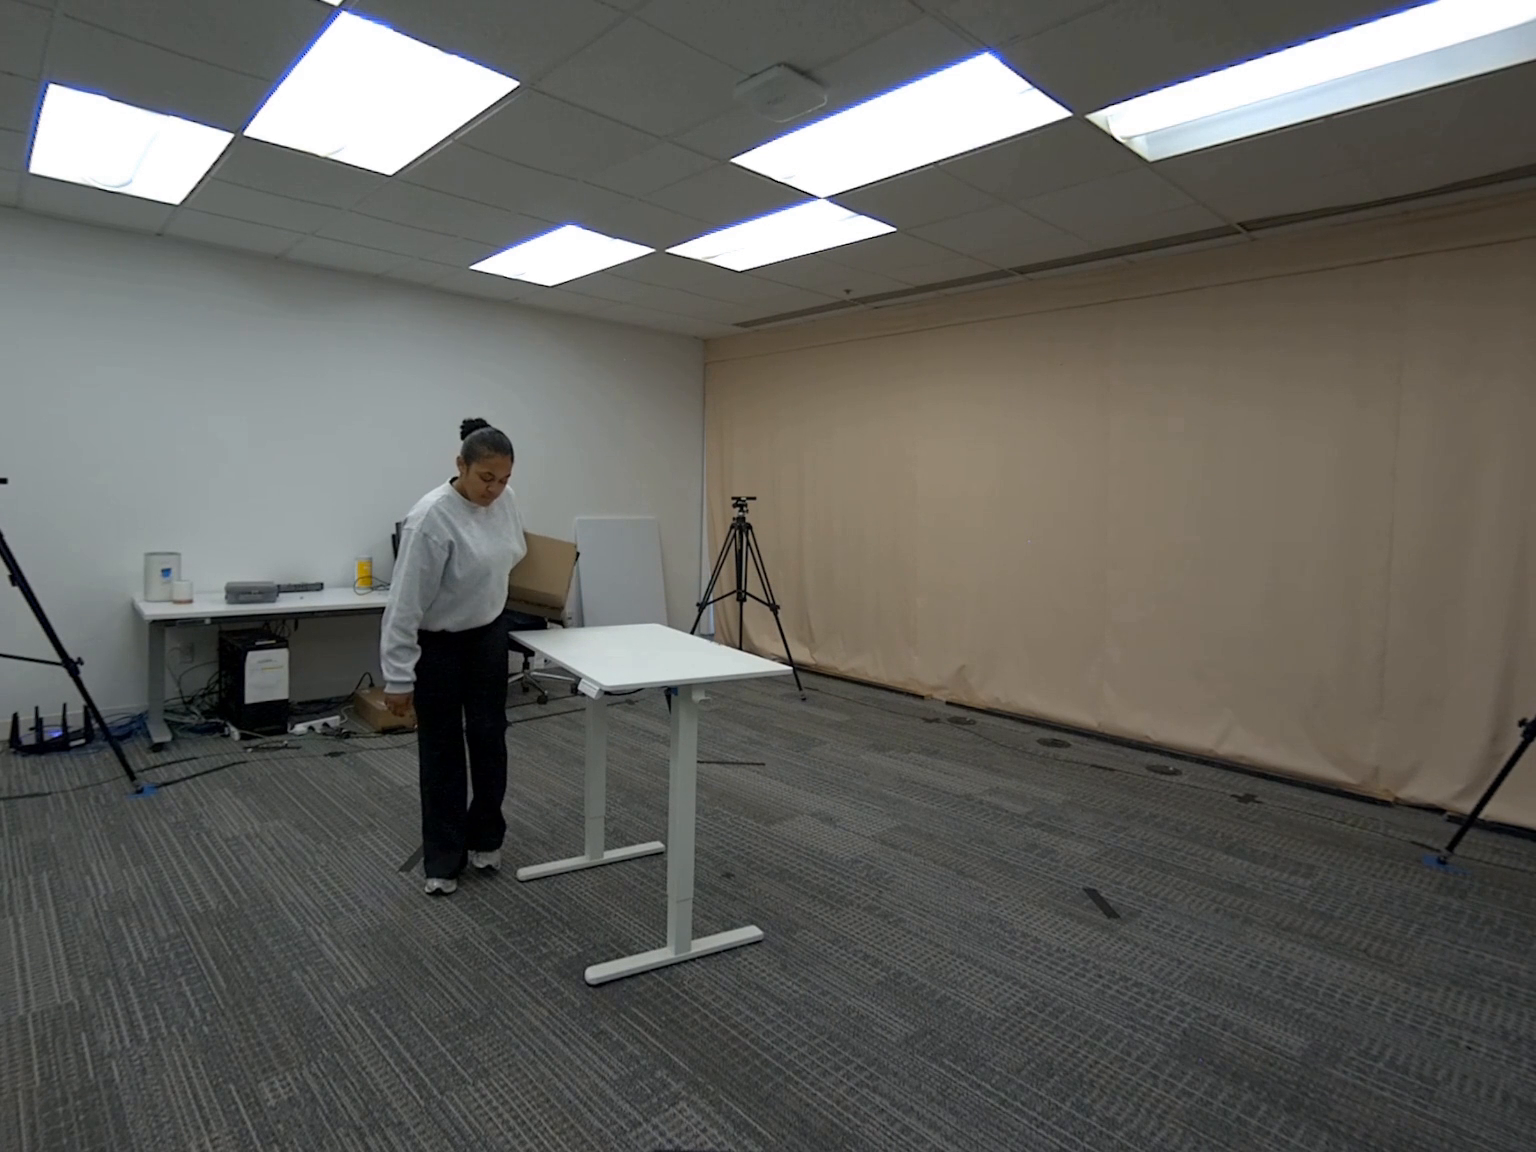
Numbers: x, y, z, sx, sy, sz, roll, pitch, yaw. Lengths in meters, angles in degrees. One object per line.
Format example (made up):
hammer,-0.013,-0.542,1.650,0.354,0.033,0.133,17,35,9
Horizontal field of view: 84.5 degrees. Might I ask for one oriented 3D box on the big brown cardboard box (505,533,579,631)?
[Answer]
big brown cardboard box,-1.063,-0.025,3.327,0.584,0.236,0.417,13,-18,-10
